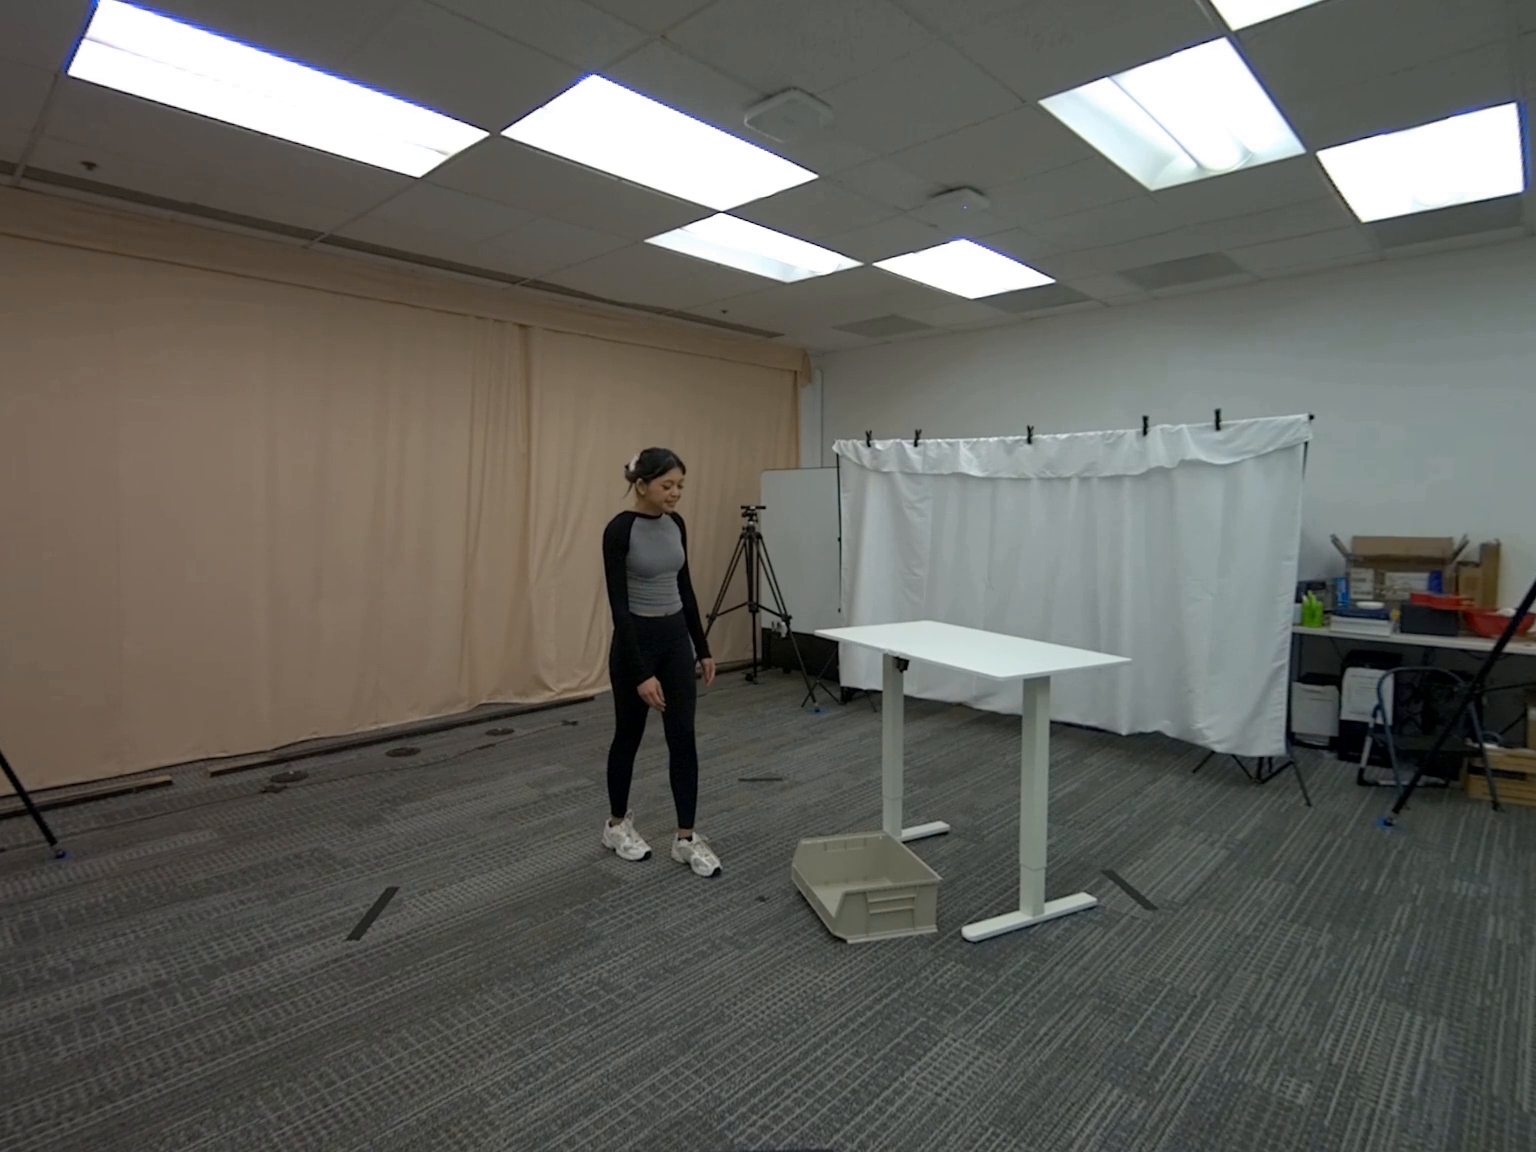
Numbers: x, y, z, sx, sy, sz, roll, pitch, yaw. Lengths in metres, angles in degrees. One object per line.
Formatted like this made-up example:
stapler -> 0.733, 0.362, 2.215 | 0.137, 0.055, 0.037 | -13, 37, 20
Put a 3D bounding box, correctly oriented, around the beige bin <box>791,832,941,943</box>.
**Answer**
beige bin -> 0.329, 1.059, 2.897 | 0.371, 0.188, 0.430 | -1, 4, -16
